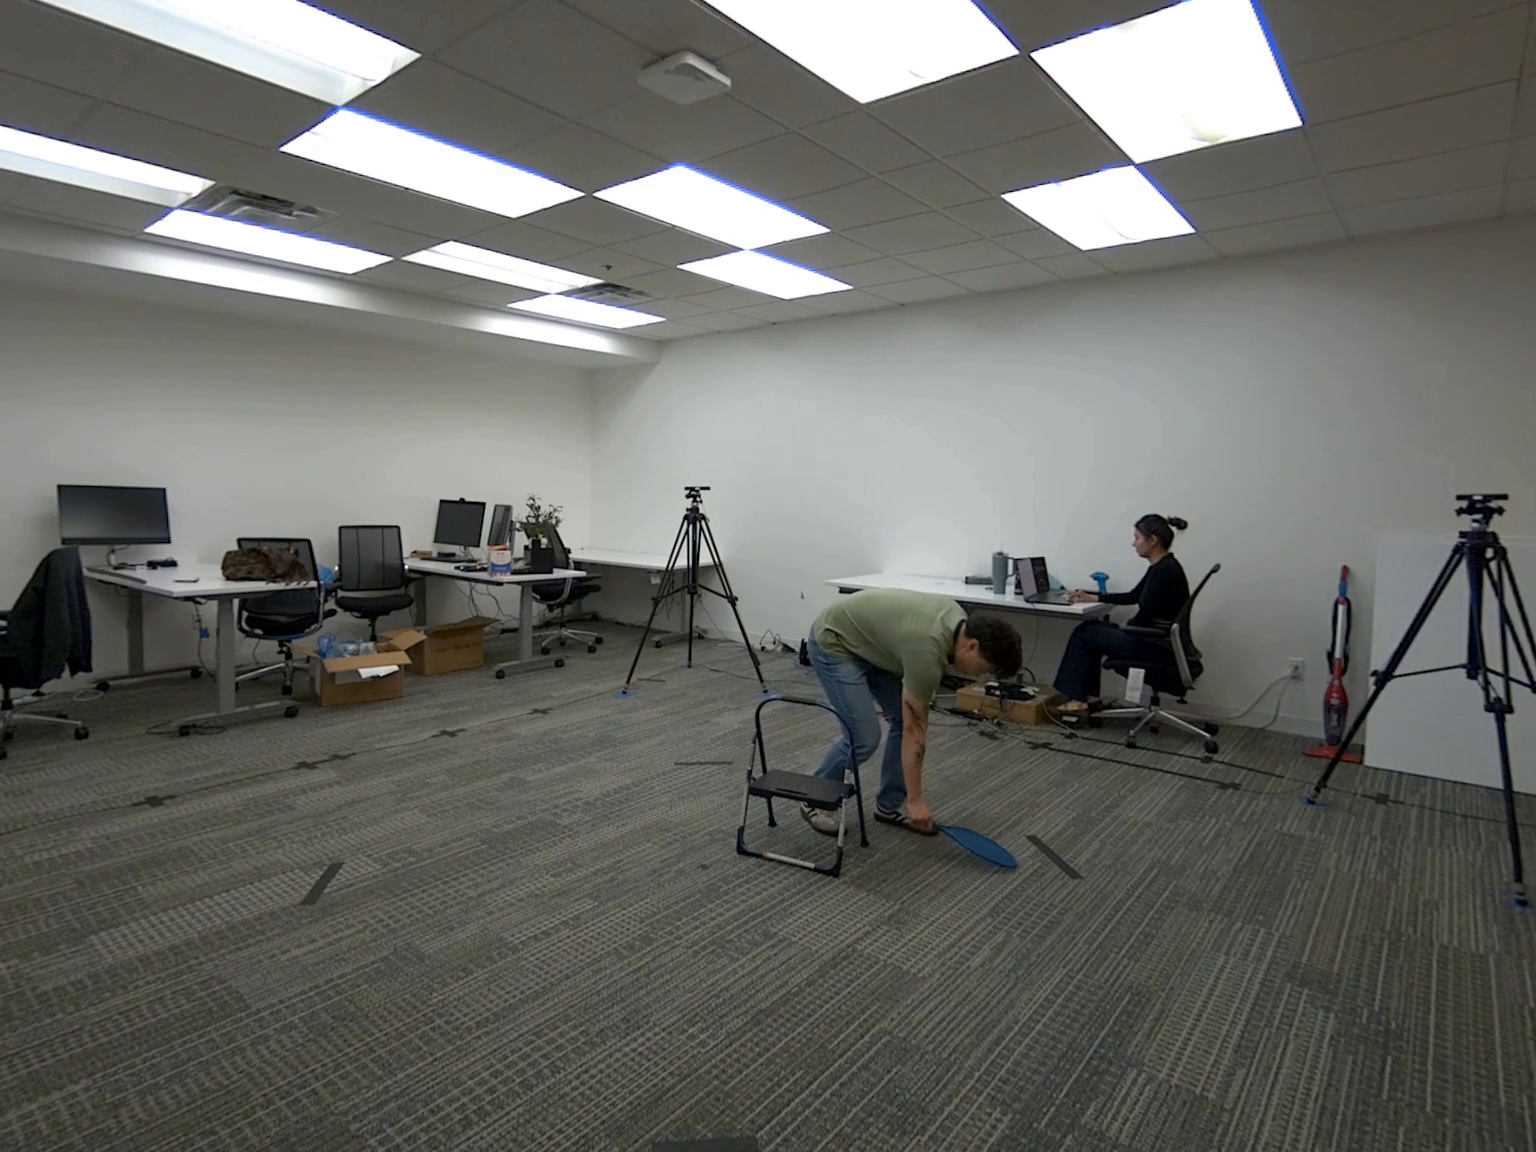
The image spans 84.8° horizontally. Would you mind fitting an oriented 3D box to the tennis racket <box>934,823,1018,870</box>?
[{"bbox_3d":[0.737,0.989,3.218,0.434,0.031,0.214,22,10,1],"label":"tennis racket"}]
